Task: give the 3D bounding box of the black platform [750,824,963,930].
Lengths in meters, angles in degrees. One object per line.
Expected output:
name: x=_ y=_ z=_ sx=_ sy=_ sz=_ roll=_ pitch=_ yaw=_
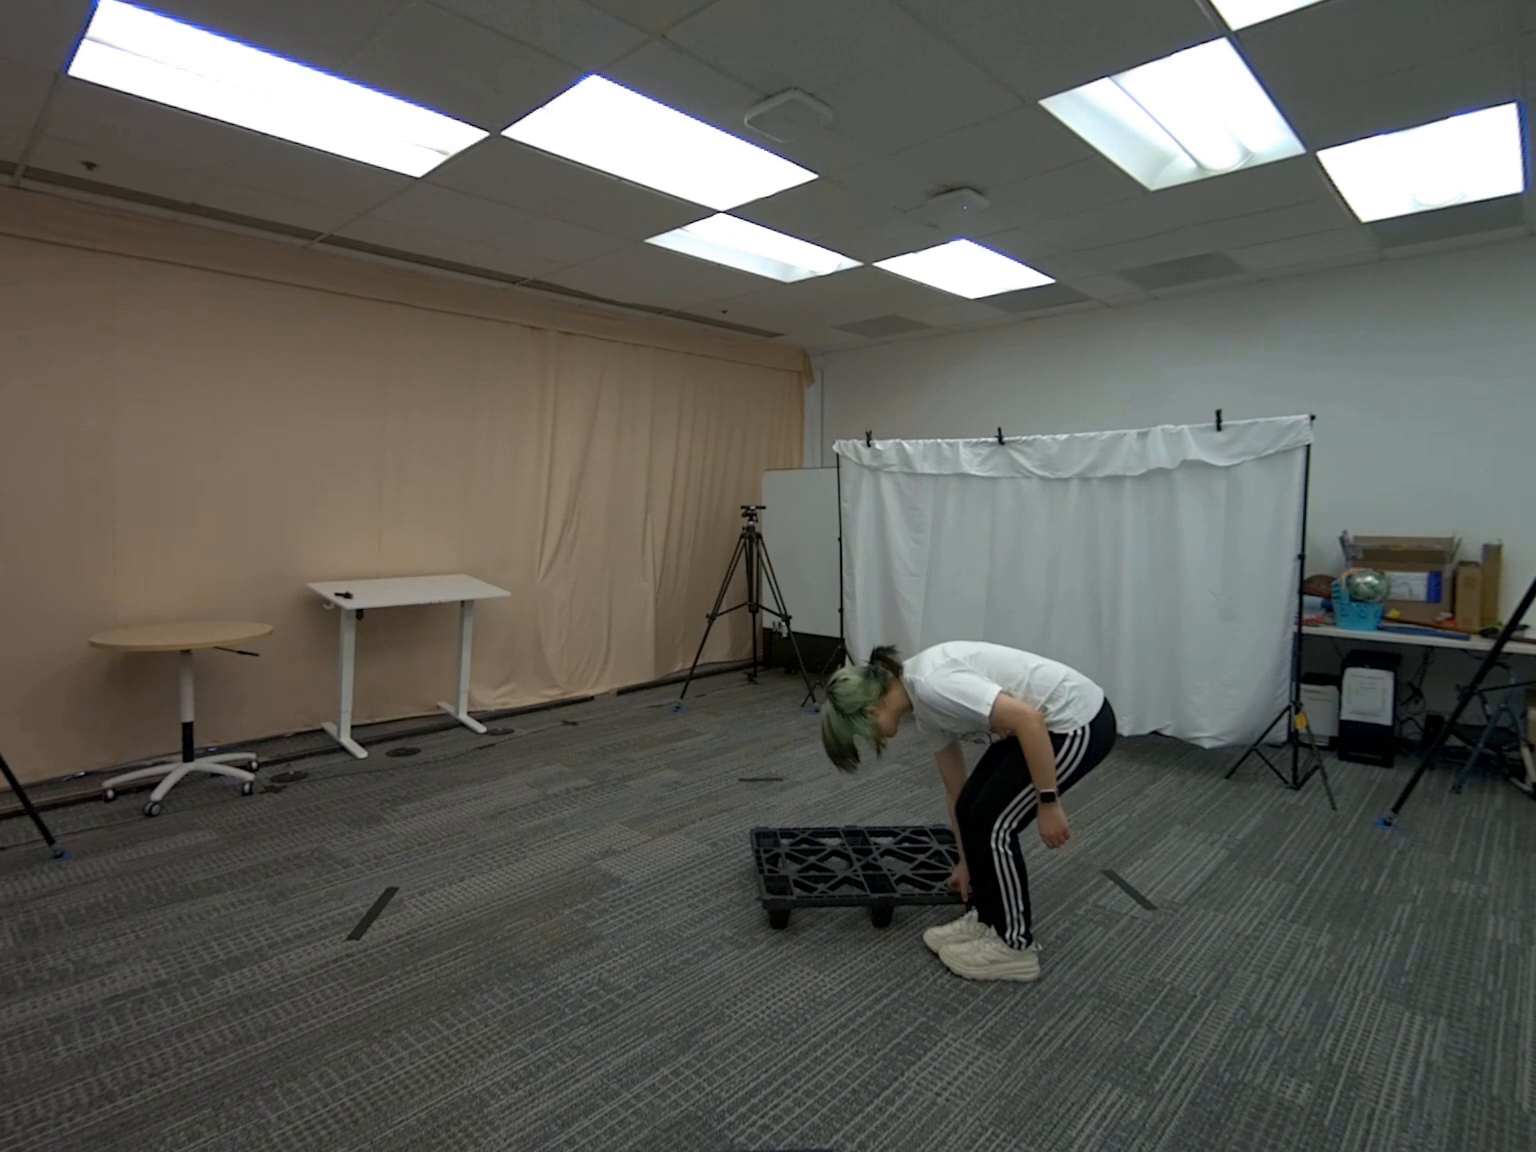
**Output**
black platform: x=0.354 y=1.071 z=3.013 sx=0.804 sy=0.143 sz=0.608 roll=0 pitch=4 yaw=-3
